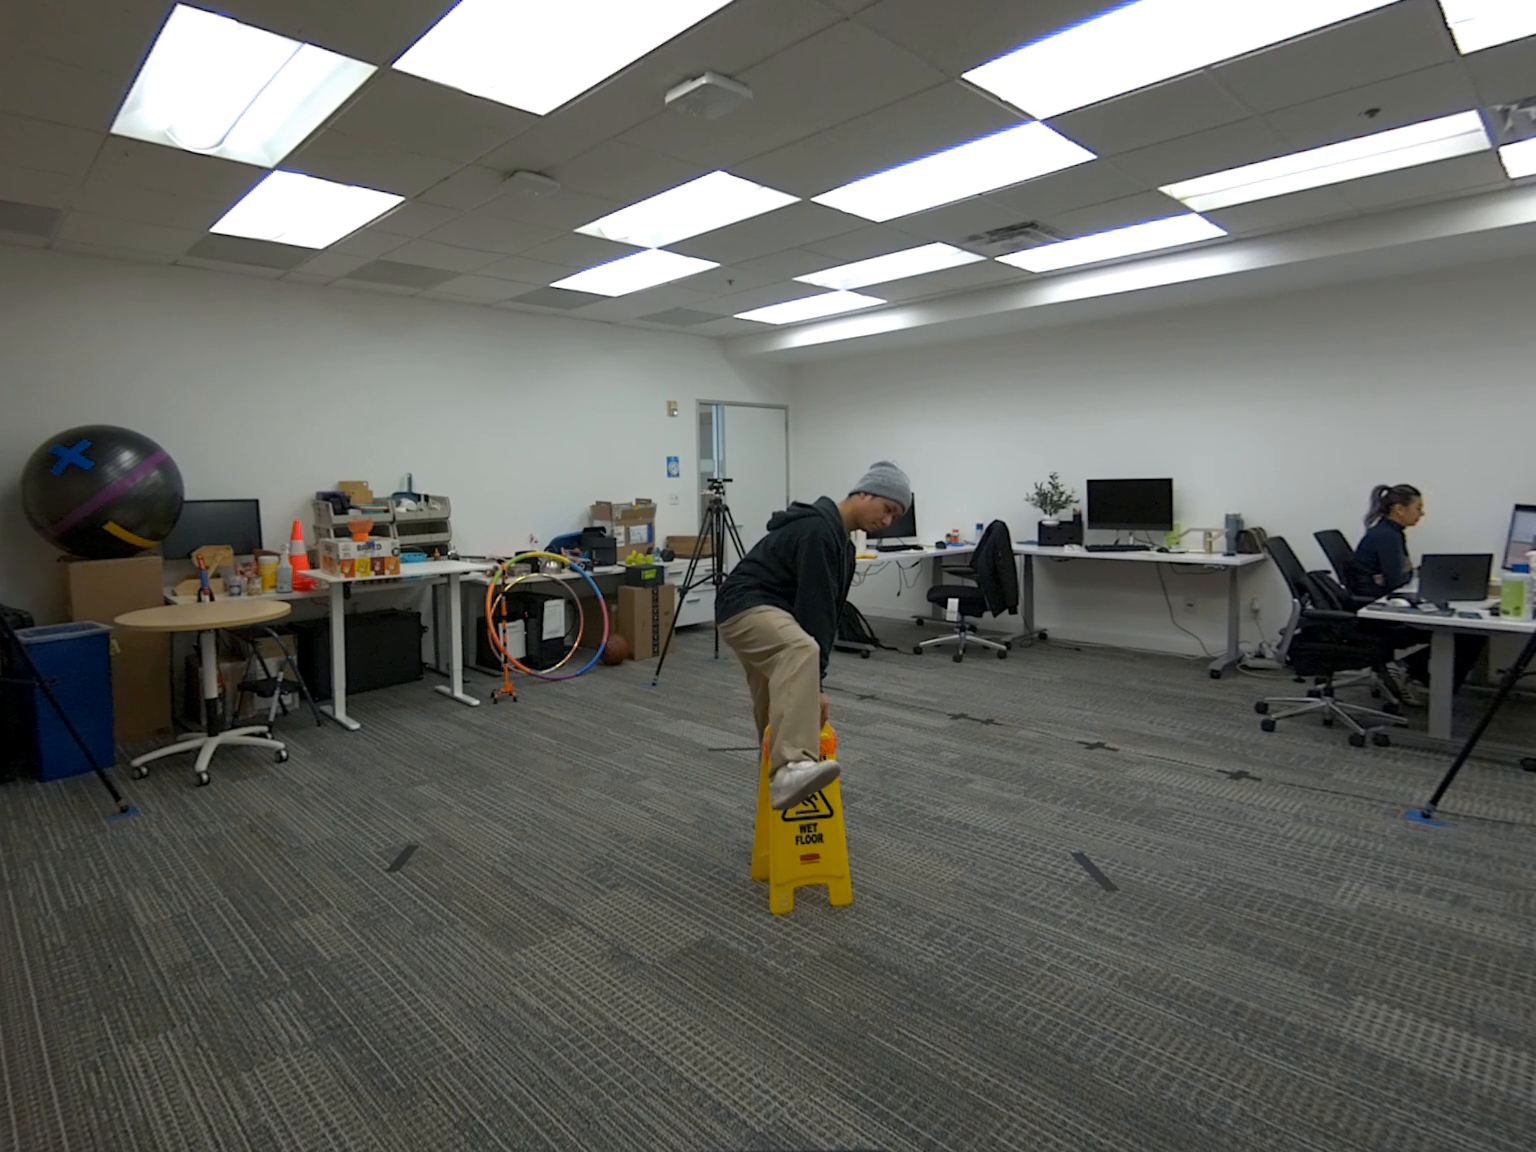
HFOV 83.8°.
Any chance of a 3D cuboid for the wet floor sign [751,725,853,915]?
[{"bbox_3d":[0.109,0.743,2.872,0.279,0.643,0.295,-3,5,-14],"label":"wet floor sign"}]
